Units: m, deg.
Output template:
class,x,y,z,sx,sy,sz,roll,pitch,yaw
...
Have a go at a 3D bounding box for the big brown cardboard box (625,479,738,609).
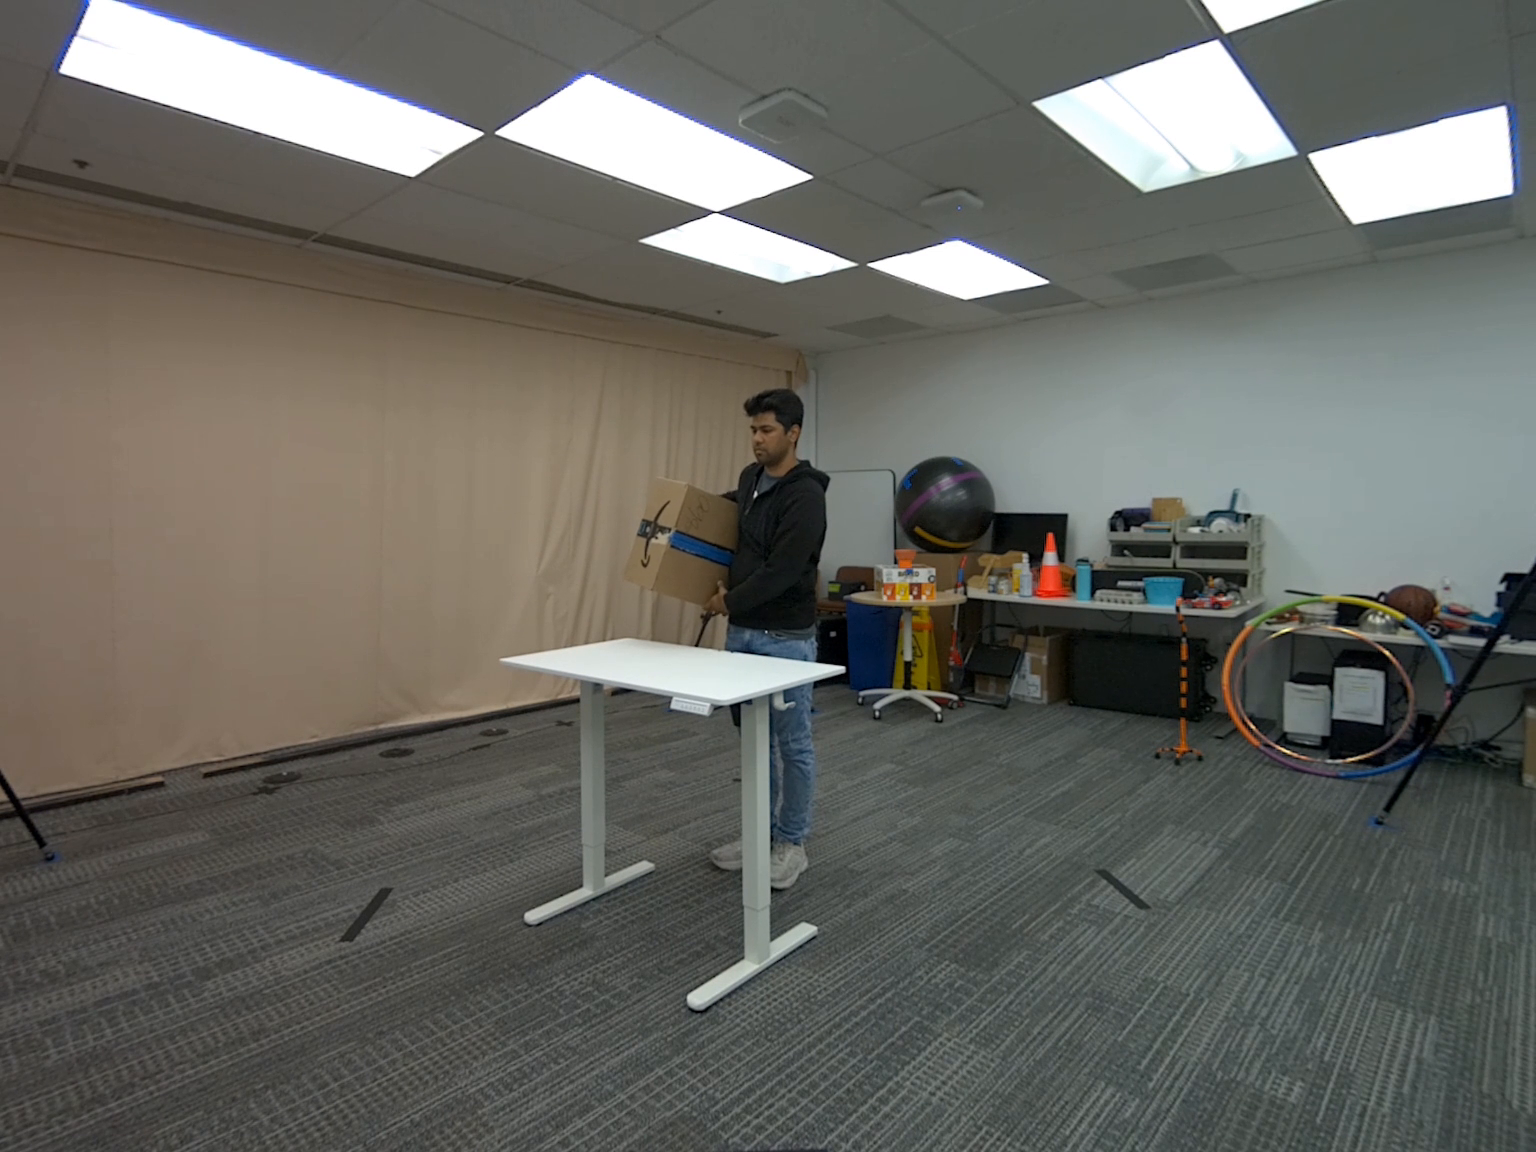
class,x,y,z,sx,sy,sz,roll,pitch,yaw
big brown cardboard box,-0.231,-0.098,3.330,0.568,0.418,0.241,21,-2,-39
